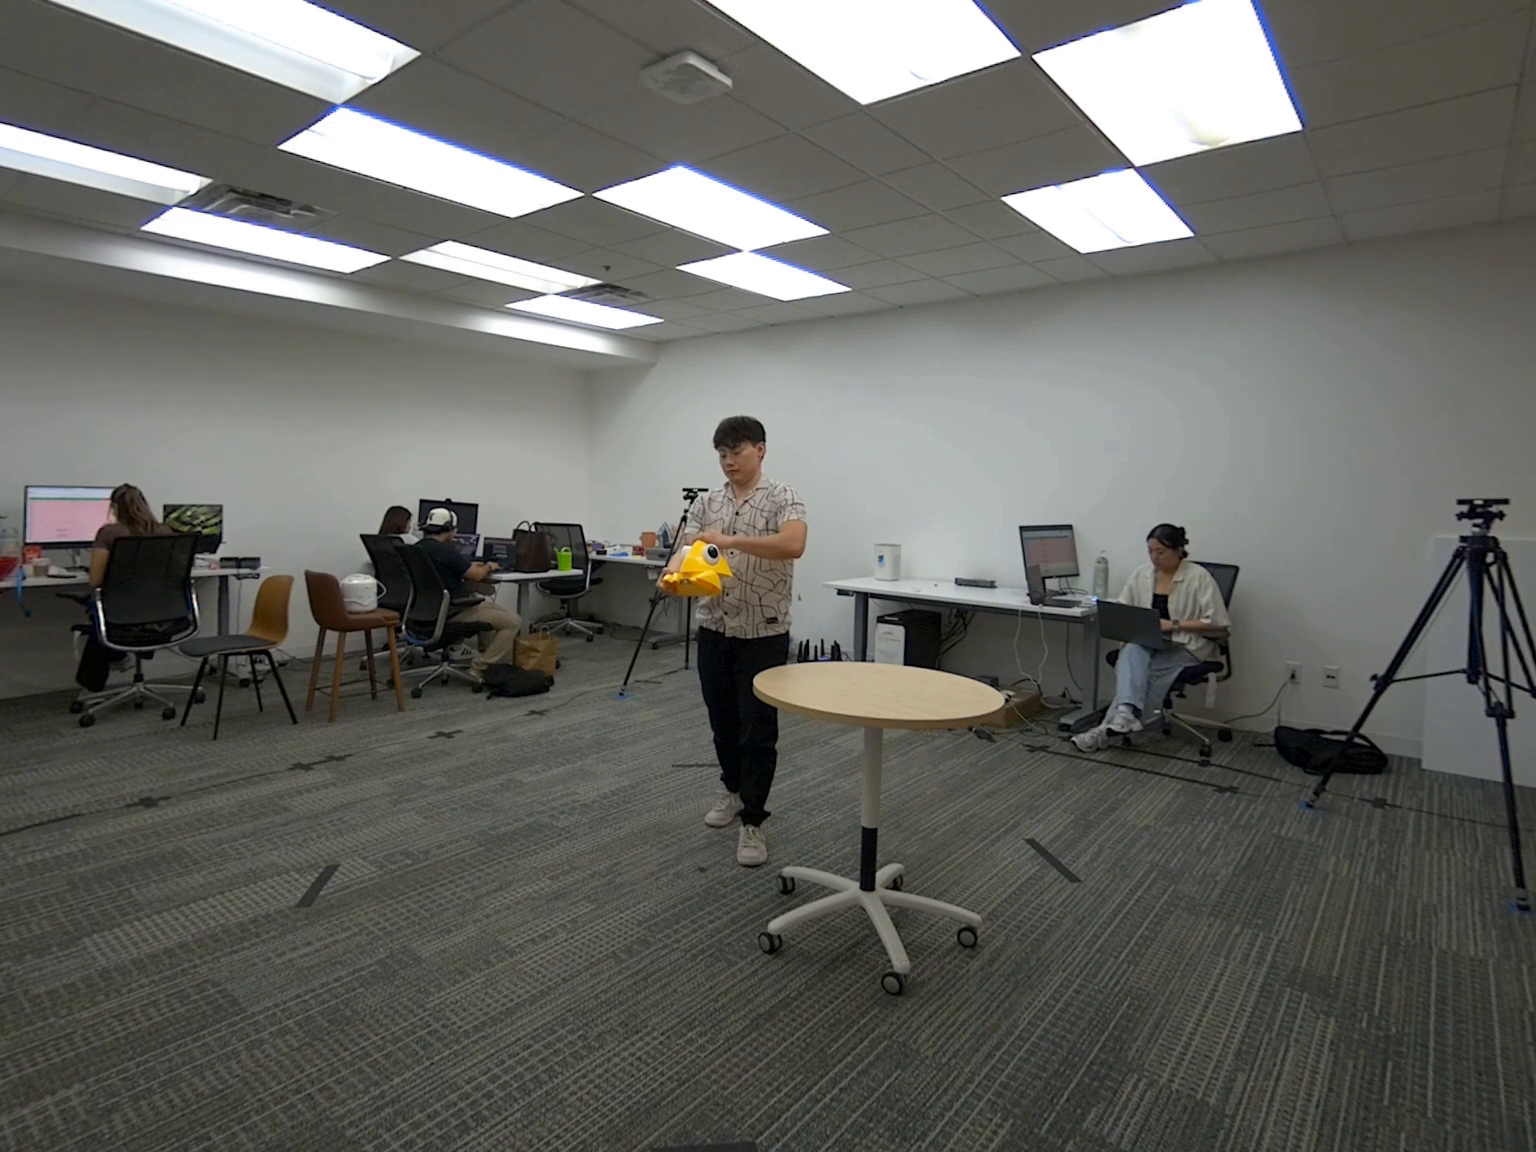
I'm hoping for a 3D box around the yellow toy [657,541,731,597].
[{"bbox_3d":[-0.267,-0.062,3.023,0.210,0.235,0.185,-5,-27,26],"label":"yellow toy"}]
